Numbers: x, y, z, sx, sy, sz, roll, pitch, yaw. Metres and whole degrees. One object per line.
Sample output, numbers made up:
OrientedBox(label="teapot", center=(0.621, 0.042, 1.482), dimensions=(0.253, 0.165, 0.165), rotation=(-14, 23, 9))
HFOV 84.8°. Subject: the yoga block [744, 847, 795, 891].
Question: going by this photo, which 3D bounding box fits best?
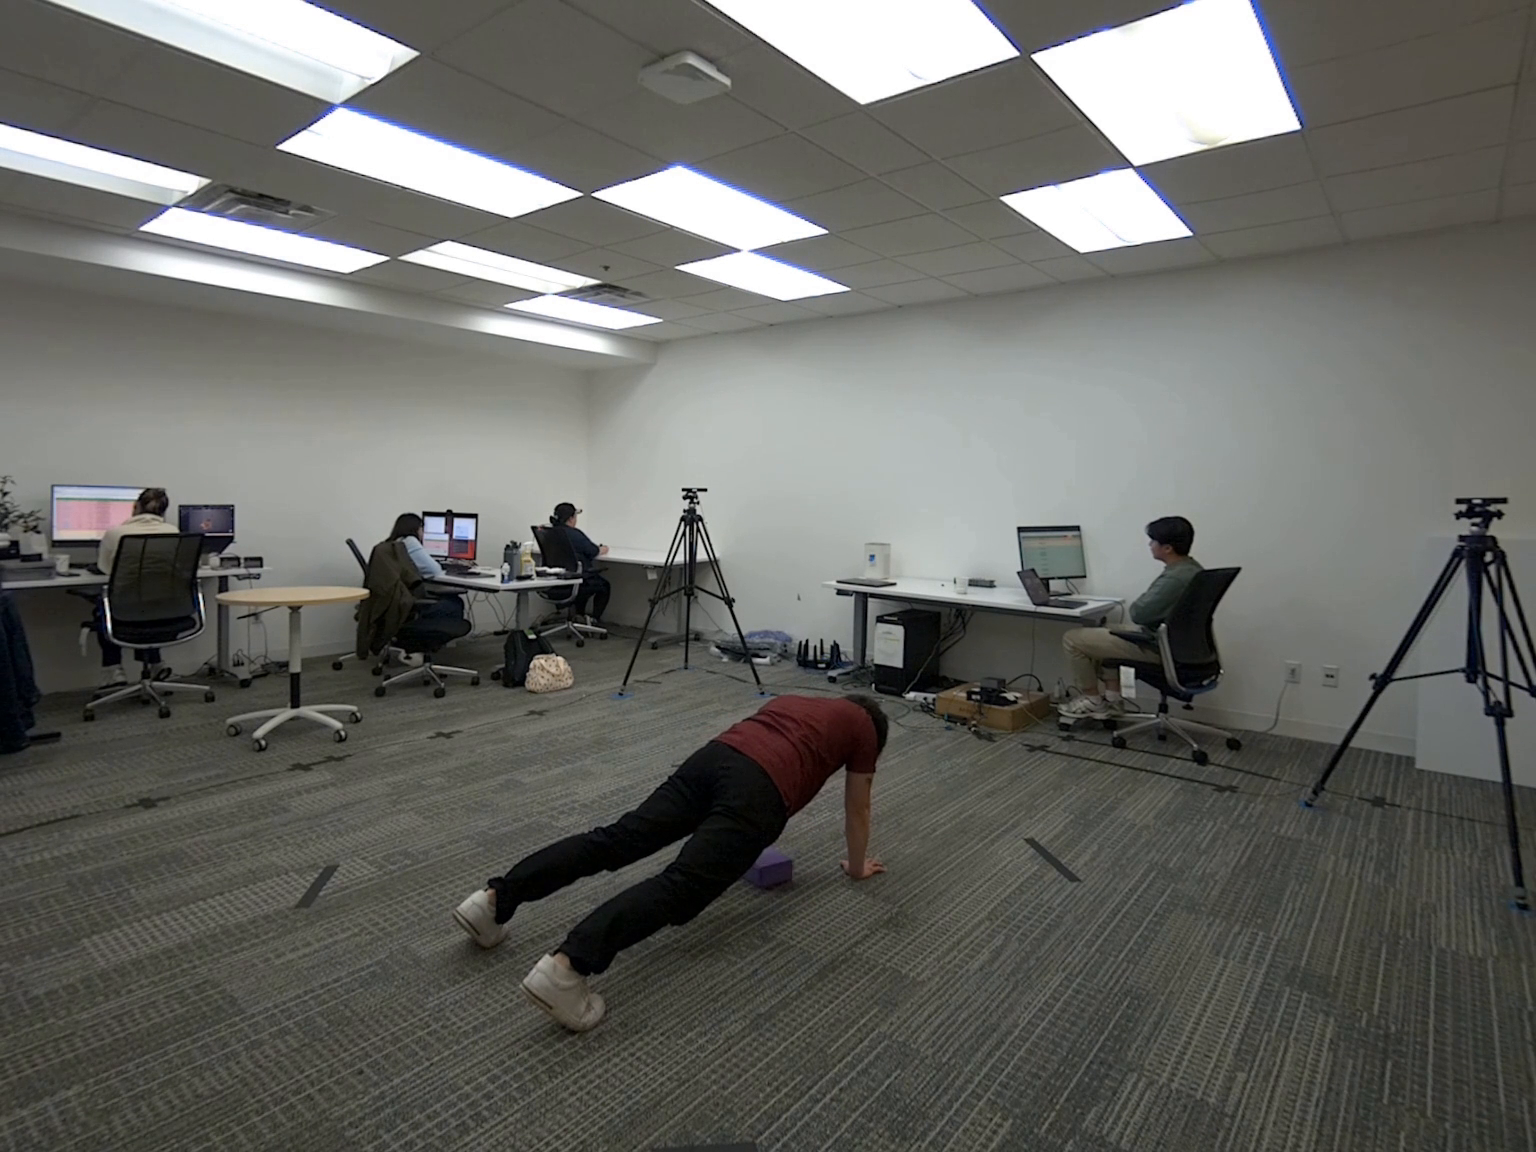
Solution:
OrientedBox(label="yoga block", center=(-0.039, 1.033, 3.085), dimensions=(0.145, 0.076, 0.236), rotation=(-3, 5, -32))
